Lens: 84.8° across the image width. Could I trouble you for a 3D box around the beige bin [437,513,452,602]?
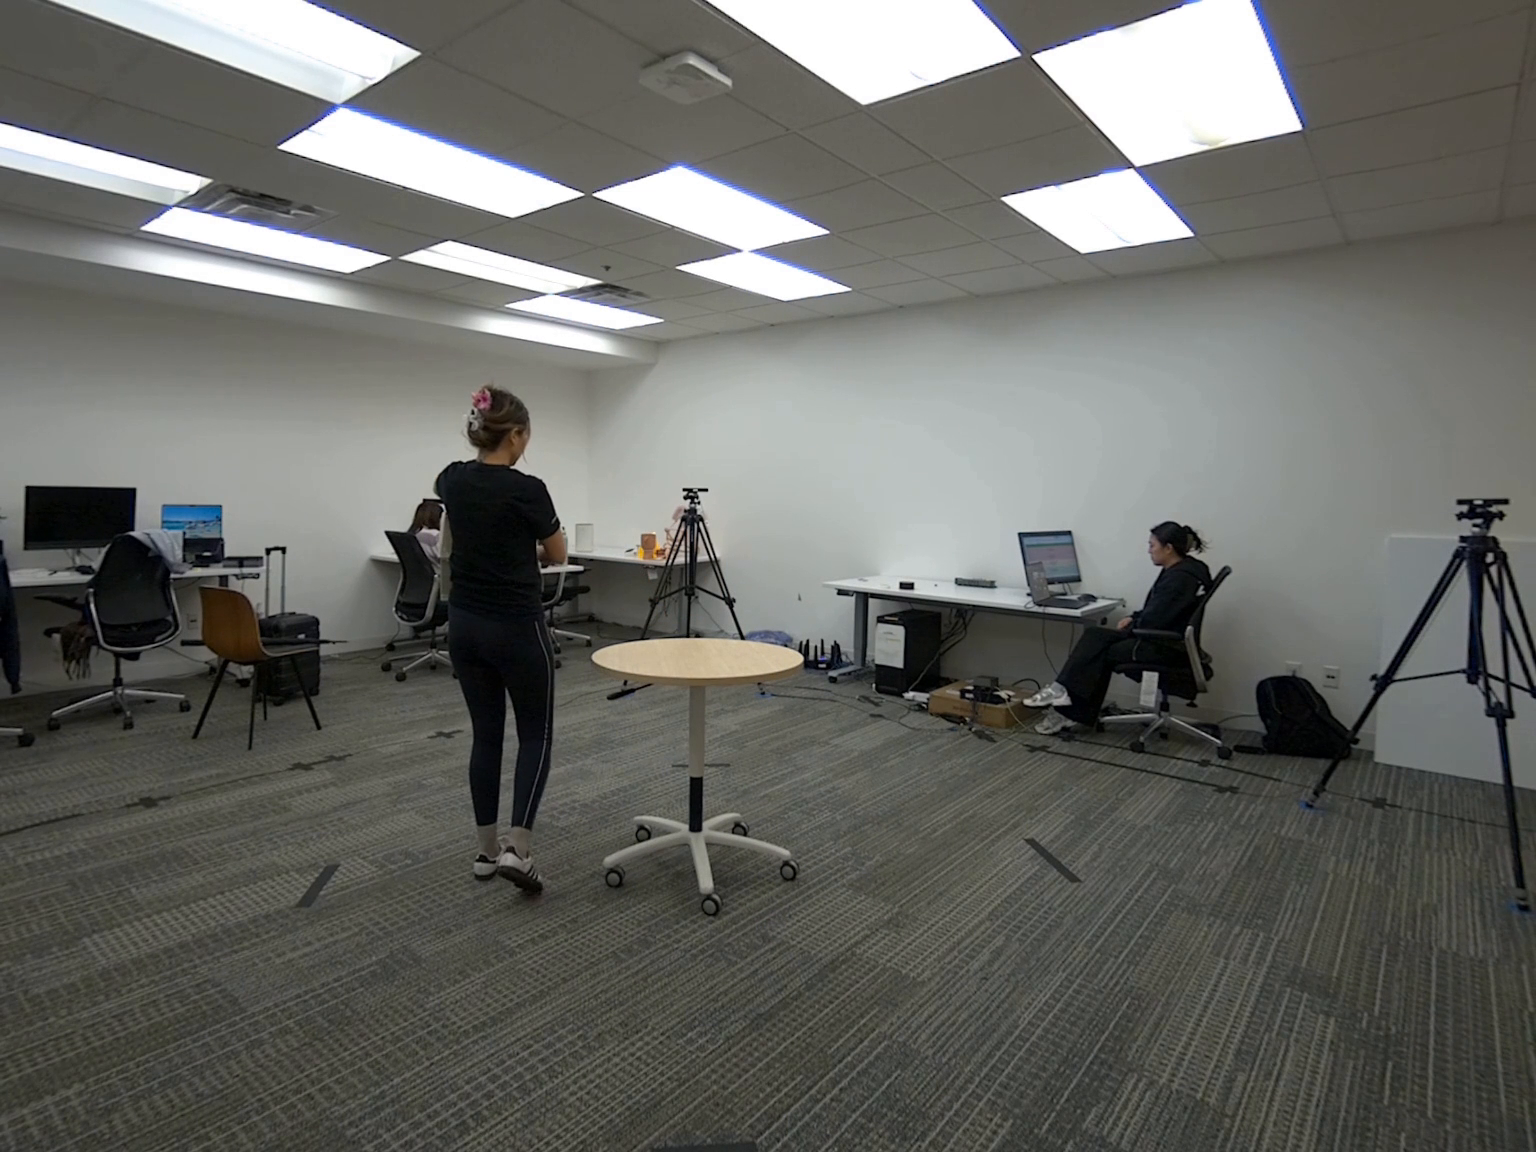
[{"bbox_3d":[-1.077,-0.080,3.276,0.371,0.185,0.437,-1,27,-16],"label":"beige bin"}]
